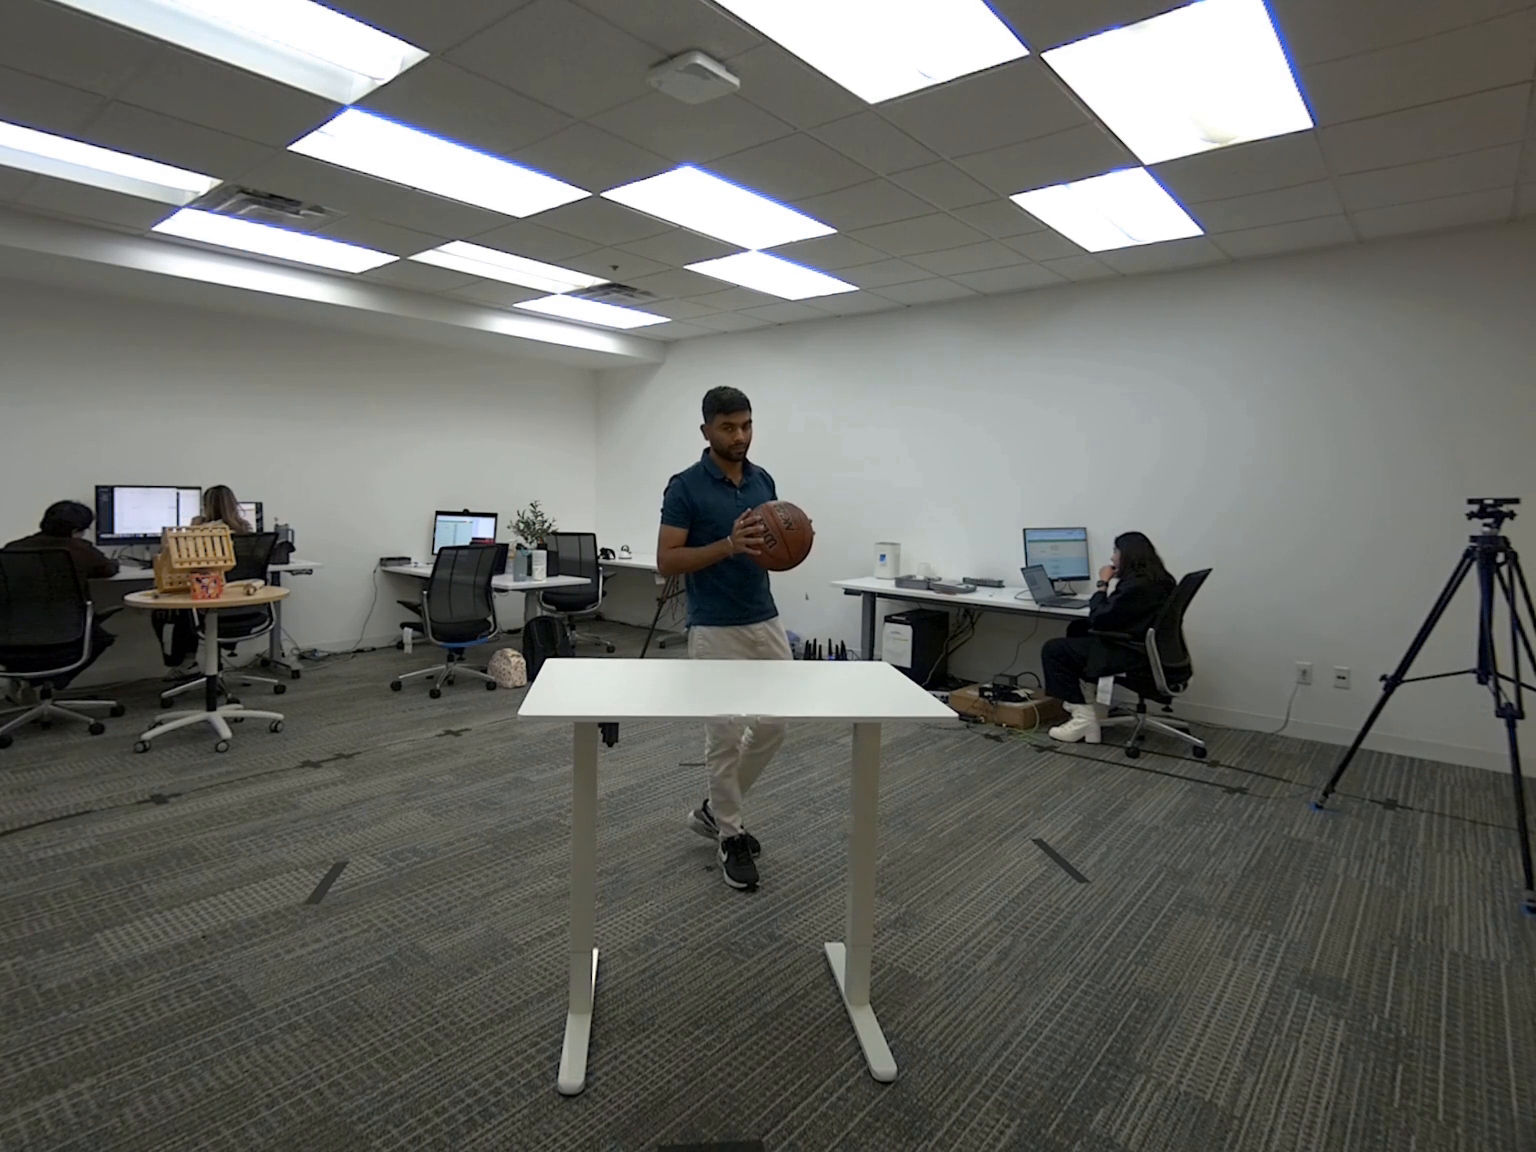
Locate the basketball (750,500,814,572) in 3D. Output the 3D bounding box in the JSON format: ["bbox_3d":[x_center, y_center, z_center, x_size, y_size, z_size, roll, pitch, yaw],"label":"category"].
[{"bbox_3d":[0.024,-0.139,2.861,0.235,0.235,0.237,1,4,-2],"label":"basketball"}]
